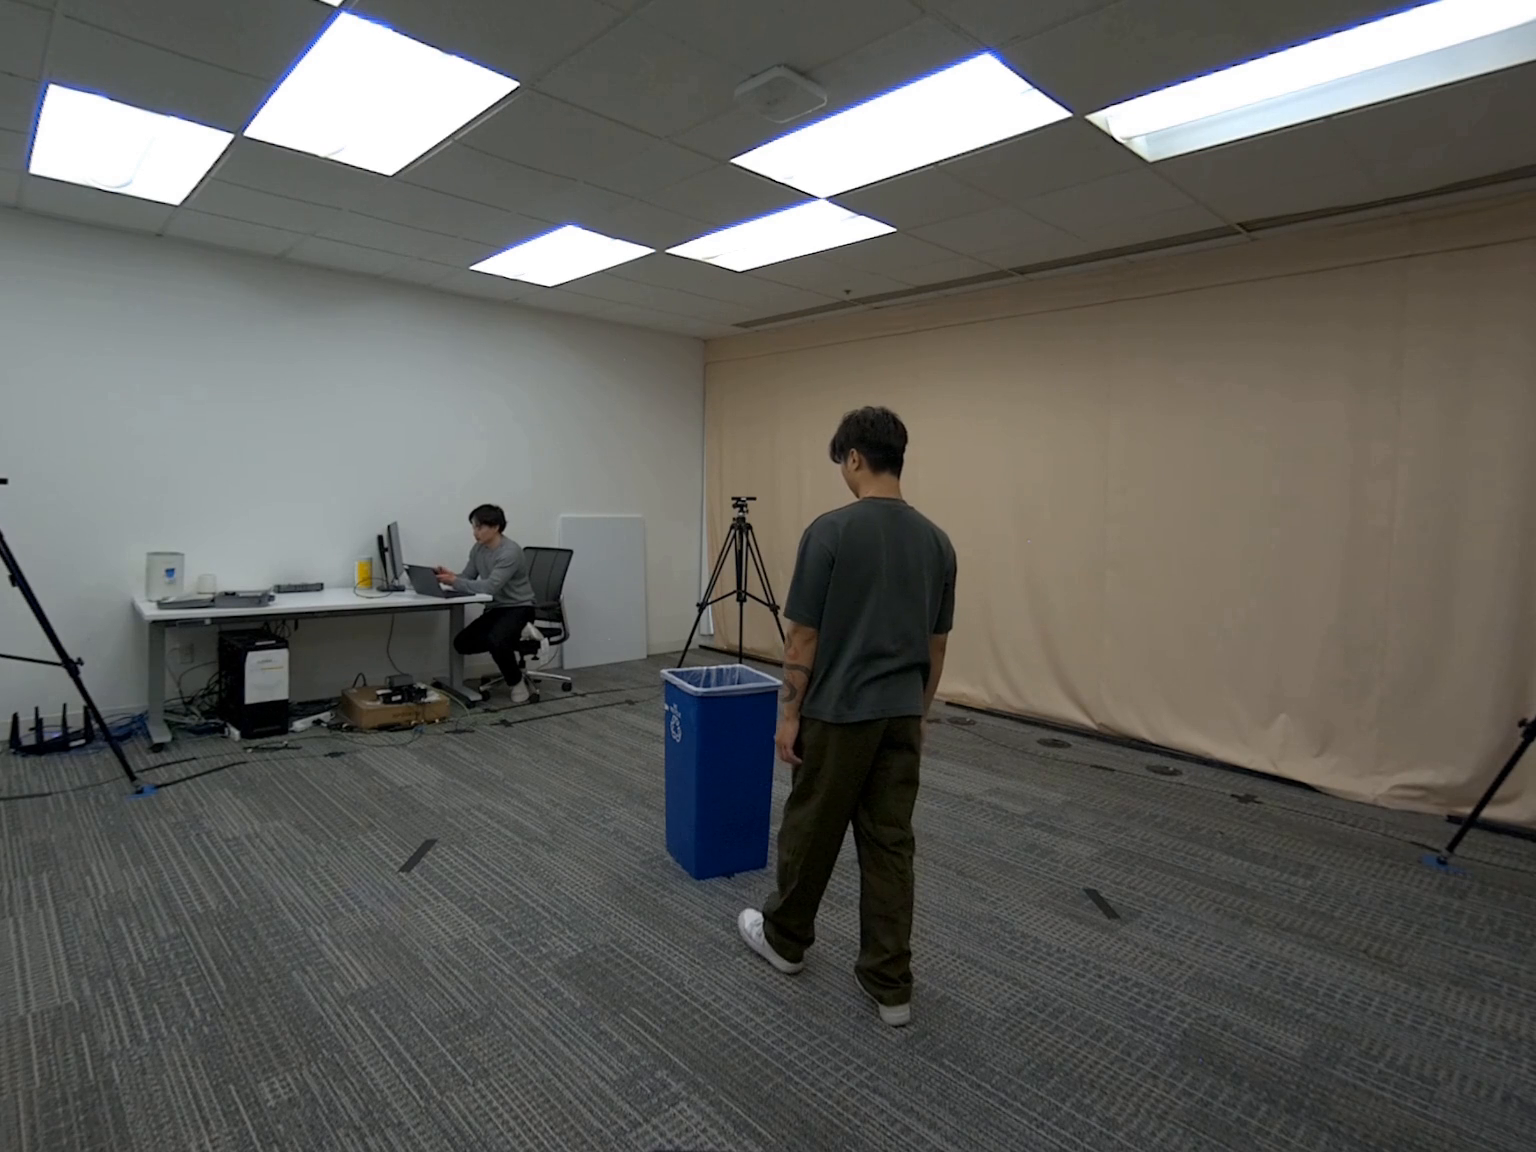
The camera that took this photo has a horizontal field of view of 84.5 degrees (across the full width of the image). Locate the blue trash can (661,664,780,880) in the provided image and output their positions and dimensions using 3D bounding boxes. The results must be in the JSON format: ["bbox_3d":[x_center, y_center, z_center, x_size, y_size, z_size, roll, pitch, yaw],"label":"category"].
[{"bbox_3d":[-0.201,0.736,3.228,0.367,0.712,0.386,0,4,-28],"label":"blue trash can"}]
